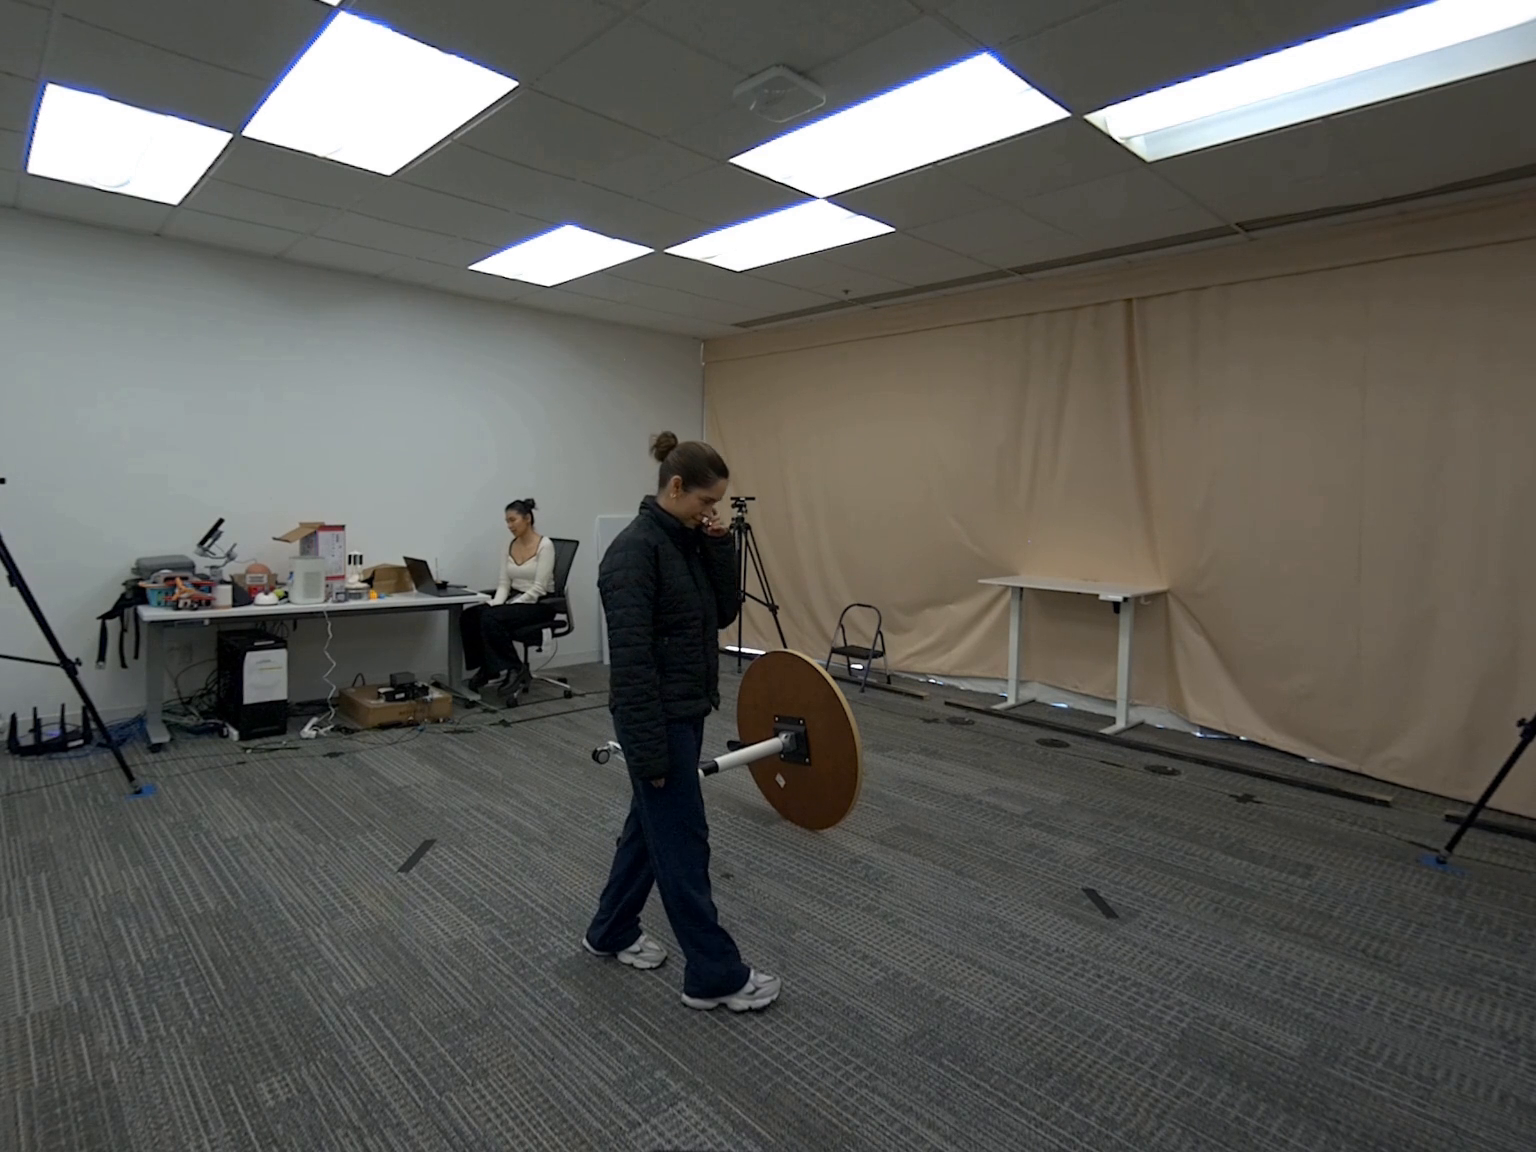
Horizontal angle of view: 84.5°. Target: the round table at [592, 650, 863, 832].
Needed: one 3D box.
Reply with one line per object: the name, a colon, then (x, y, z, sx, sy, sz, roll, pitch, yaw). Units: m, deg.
round table: (-0.187, 0.750, 3.339, 0.771, 0.781, 0.805, -9, 10, -38)
